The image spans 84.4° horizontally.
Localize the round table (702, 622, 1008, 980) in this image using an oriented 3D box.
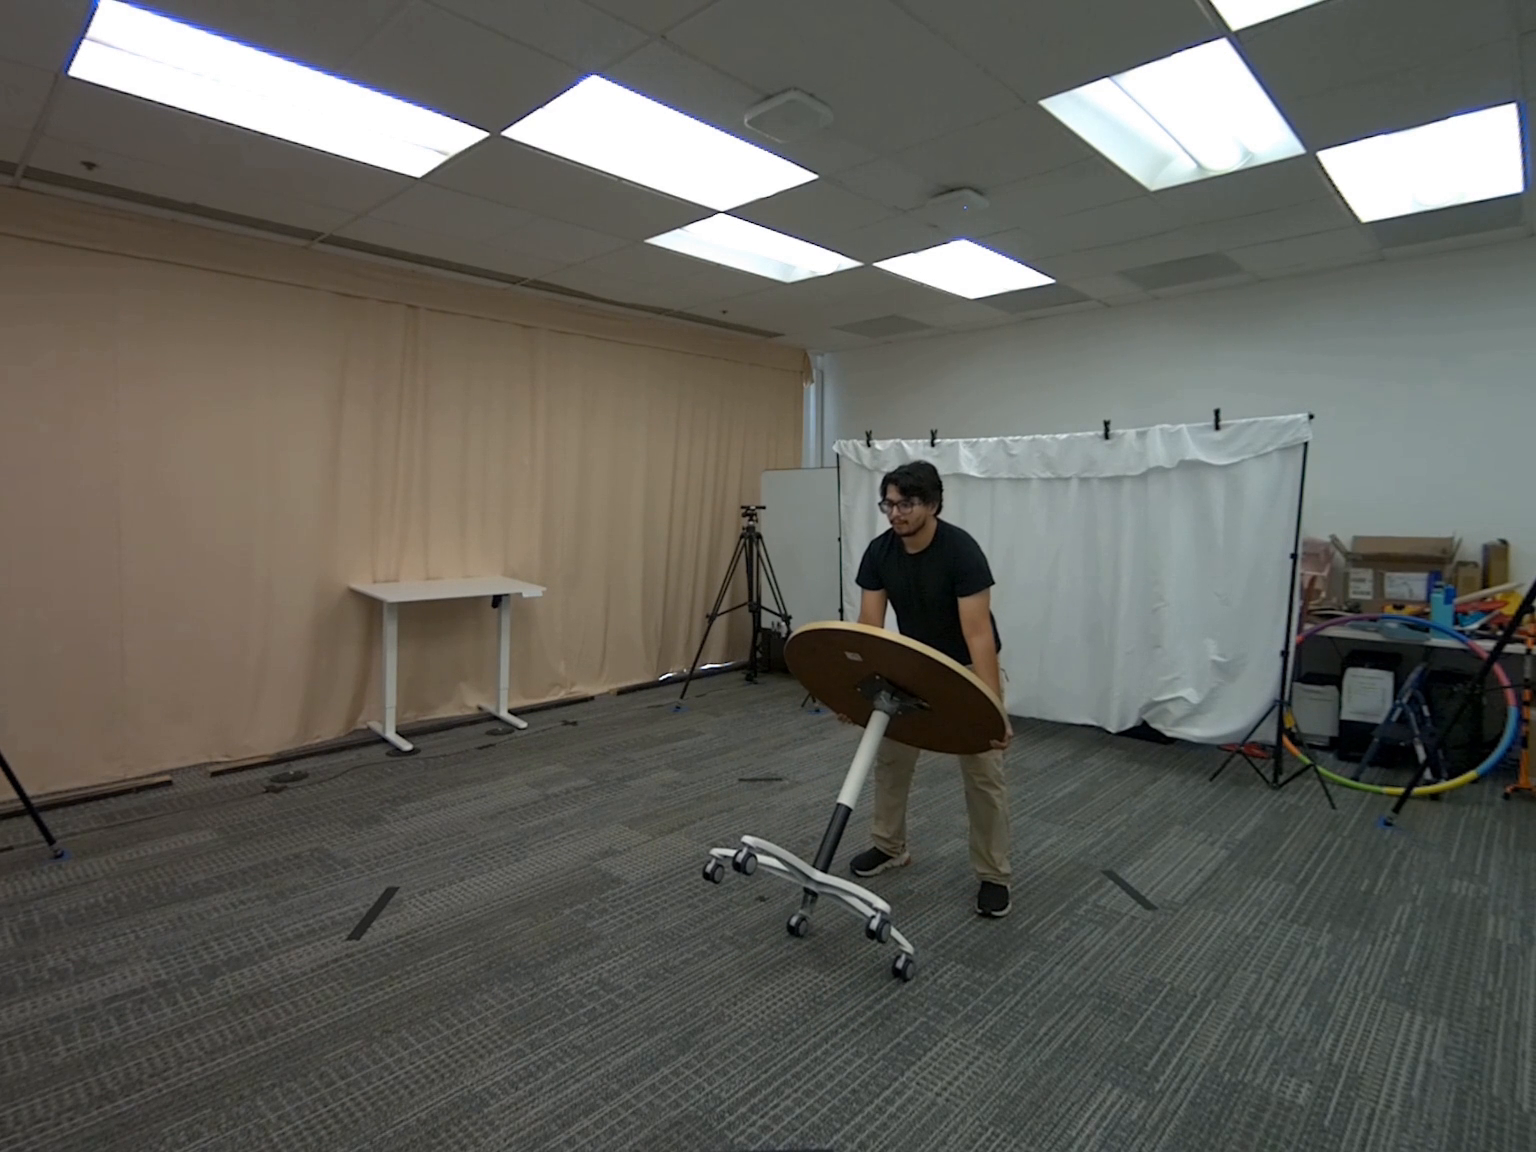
[{"bbox_3d":[0.262,0.697,2.649,0.797,0.787,0.773,23,-28,11],"label":"round table"}]
